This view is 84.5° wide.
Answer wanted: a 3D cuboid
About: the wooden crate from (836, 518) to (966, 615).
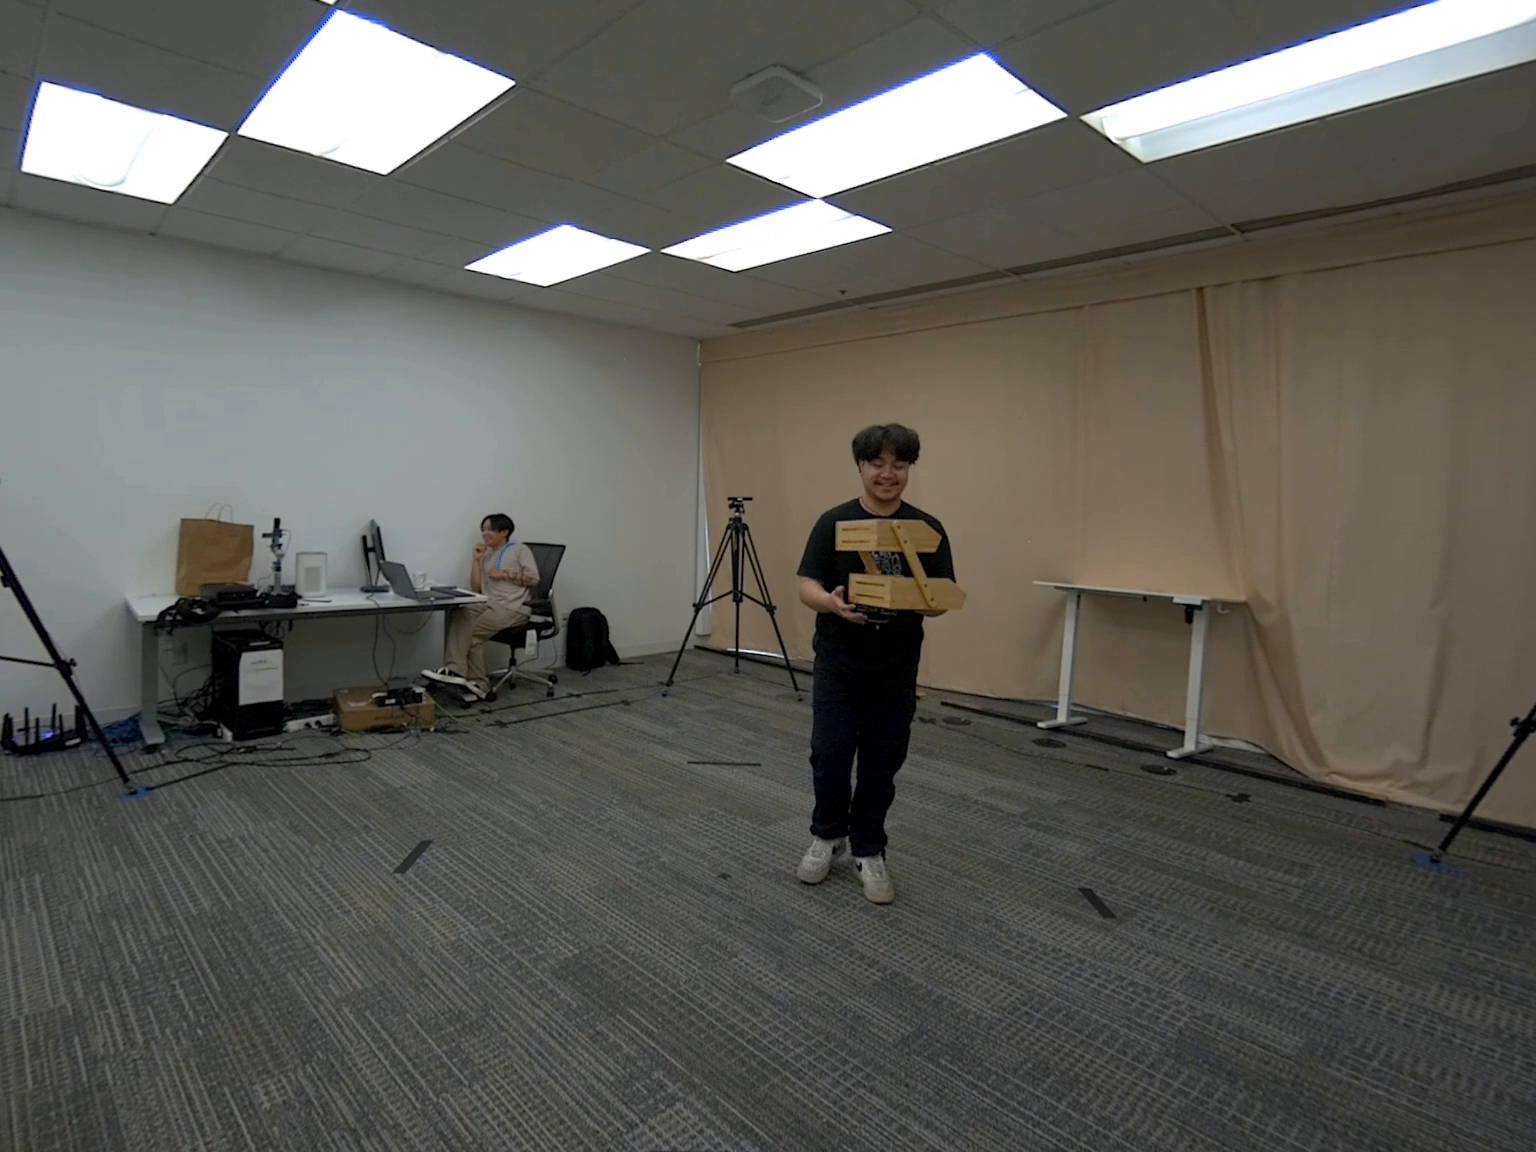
[{"bbox_3d":[0.410,-0.040,2.615,0.298,0.273,0.329,1,1,-17],"label":"wooden crate"}]
